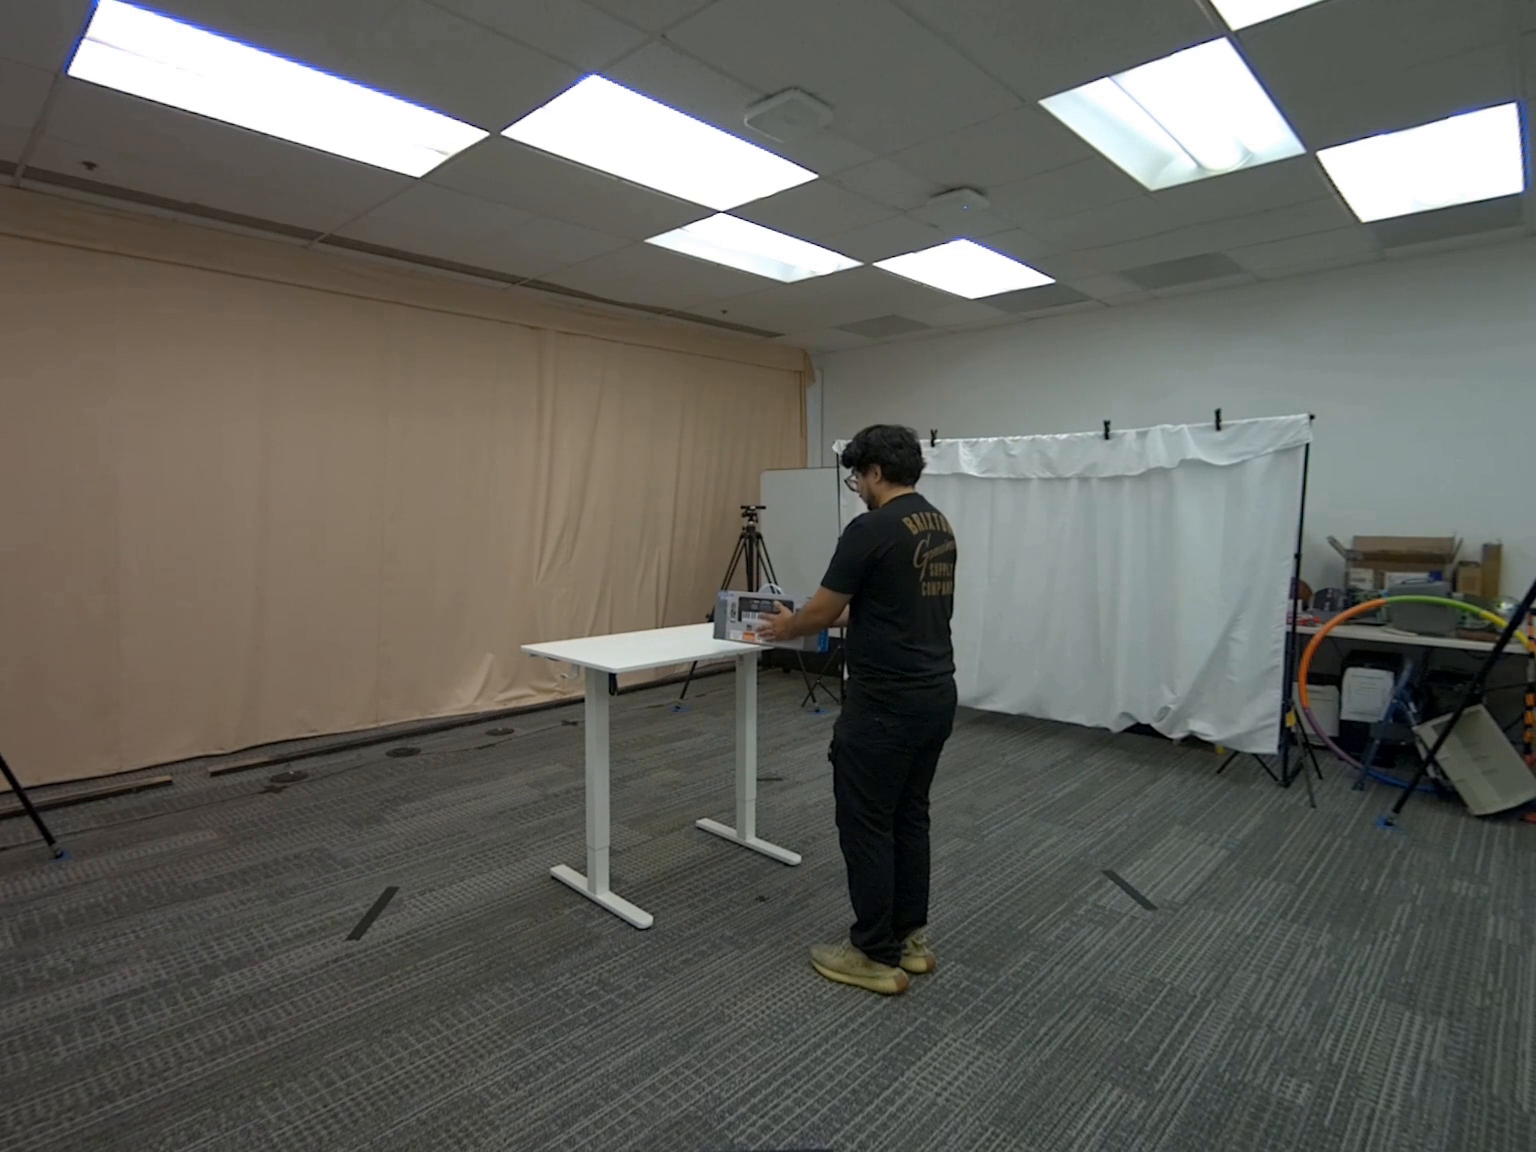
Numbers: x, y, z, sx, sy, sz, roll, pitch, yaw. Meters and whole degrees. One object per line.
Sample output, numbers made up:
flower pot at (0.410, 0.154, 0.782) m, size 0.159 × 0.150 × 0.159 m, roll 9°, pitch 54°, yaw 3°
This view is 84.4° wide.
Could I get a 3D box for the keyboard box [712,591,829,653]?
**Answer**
keyboard box at (0.007, 0.150, 2.828) m, size 0.451 × 0.176 × 0.057 m, roll 4°, pitch -1°, yaw 38°
